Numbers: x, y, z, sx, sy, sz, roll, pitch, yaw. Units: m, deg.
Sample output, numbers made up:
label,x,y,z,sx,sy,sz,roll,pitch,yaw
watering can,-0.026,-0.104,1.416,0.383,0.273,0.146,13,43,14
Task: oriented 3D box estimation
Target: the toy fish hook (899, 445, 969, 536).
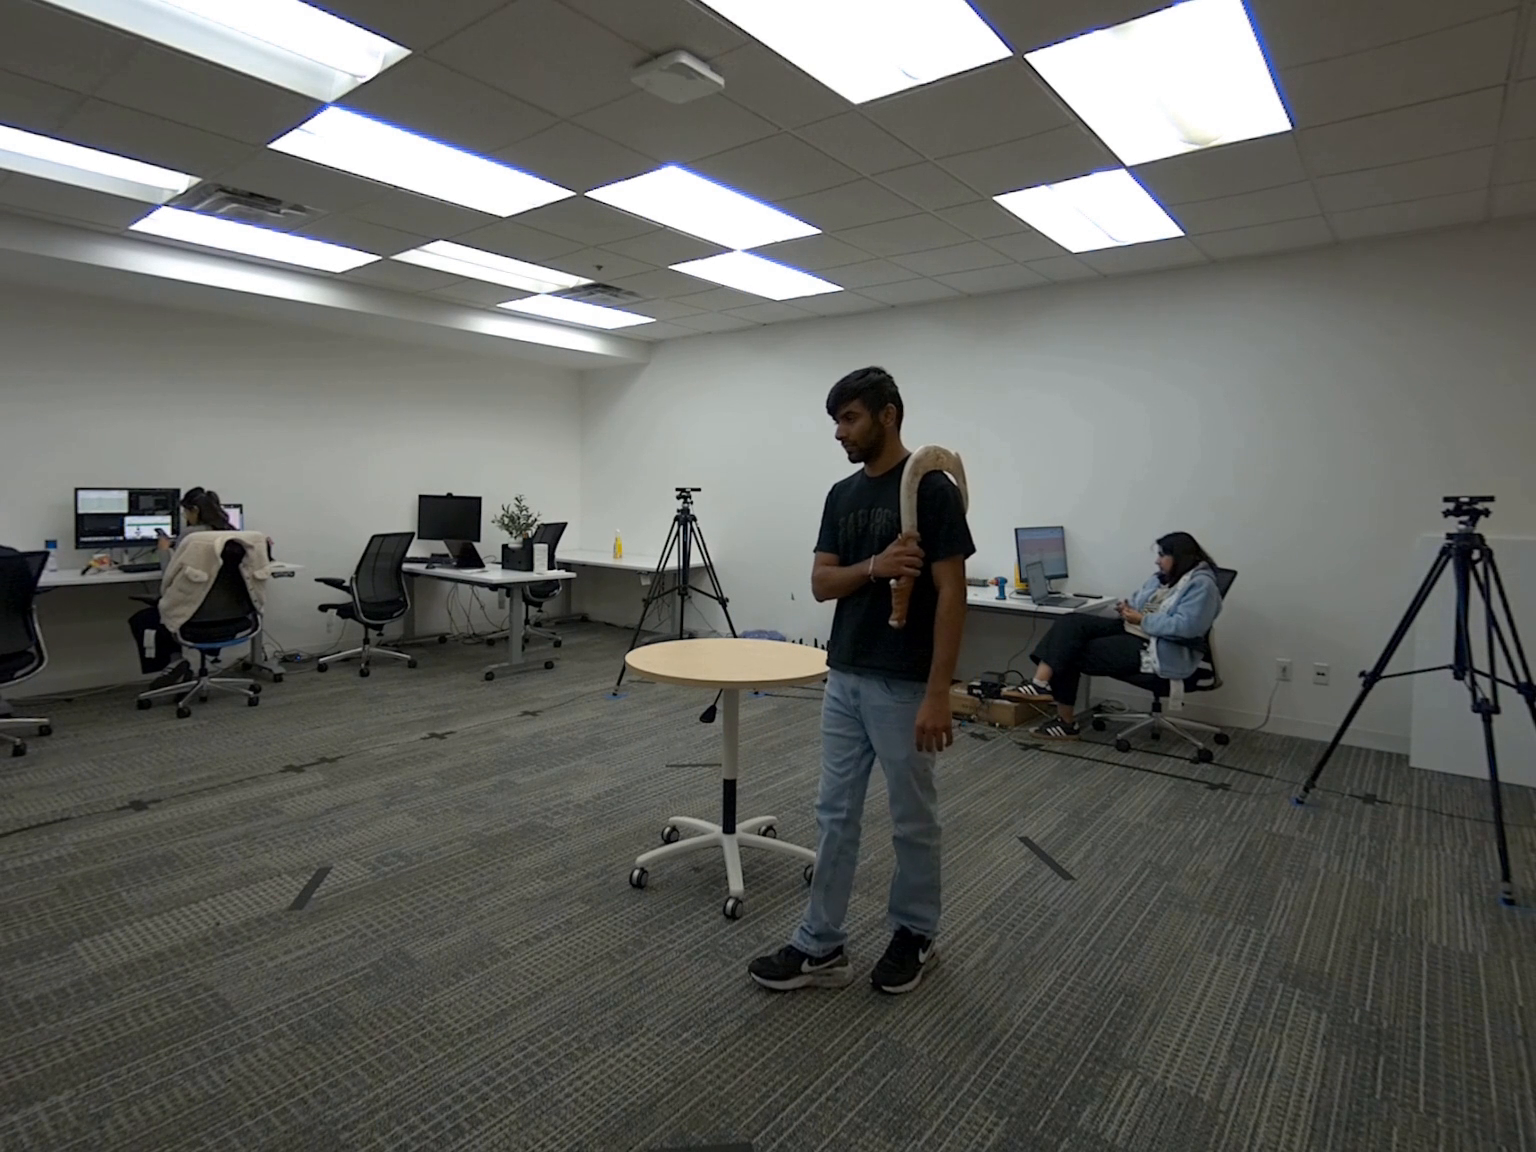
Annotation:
label,x,y,z,sx,sy,sz,roll,pitch,yaw
toy fish hook,0.431,-0.107,2.276,0.219,0.509,0.049,12,-6,-19
